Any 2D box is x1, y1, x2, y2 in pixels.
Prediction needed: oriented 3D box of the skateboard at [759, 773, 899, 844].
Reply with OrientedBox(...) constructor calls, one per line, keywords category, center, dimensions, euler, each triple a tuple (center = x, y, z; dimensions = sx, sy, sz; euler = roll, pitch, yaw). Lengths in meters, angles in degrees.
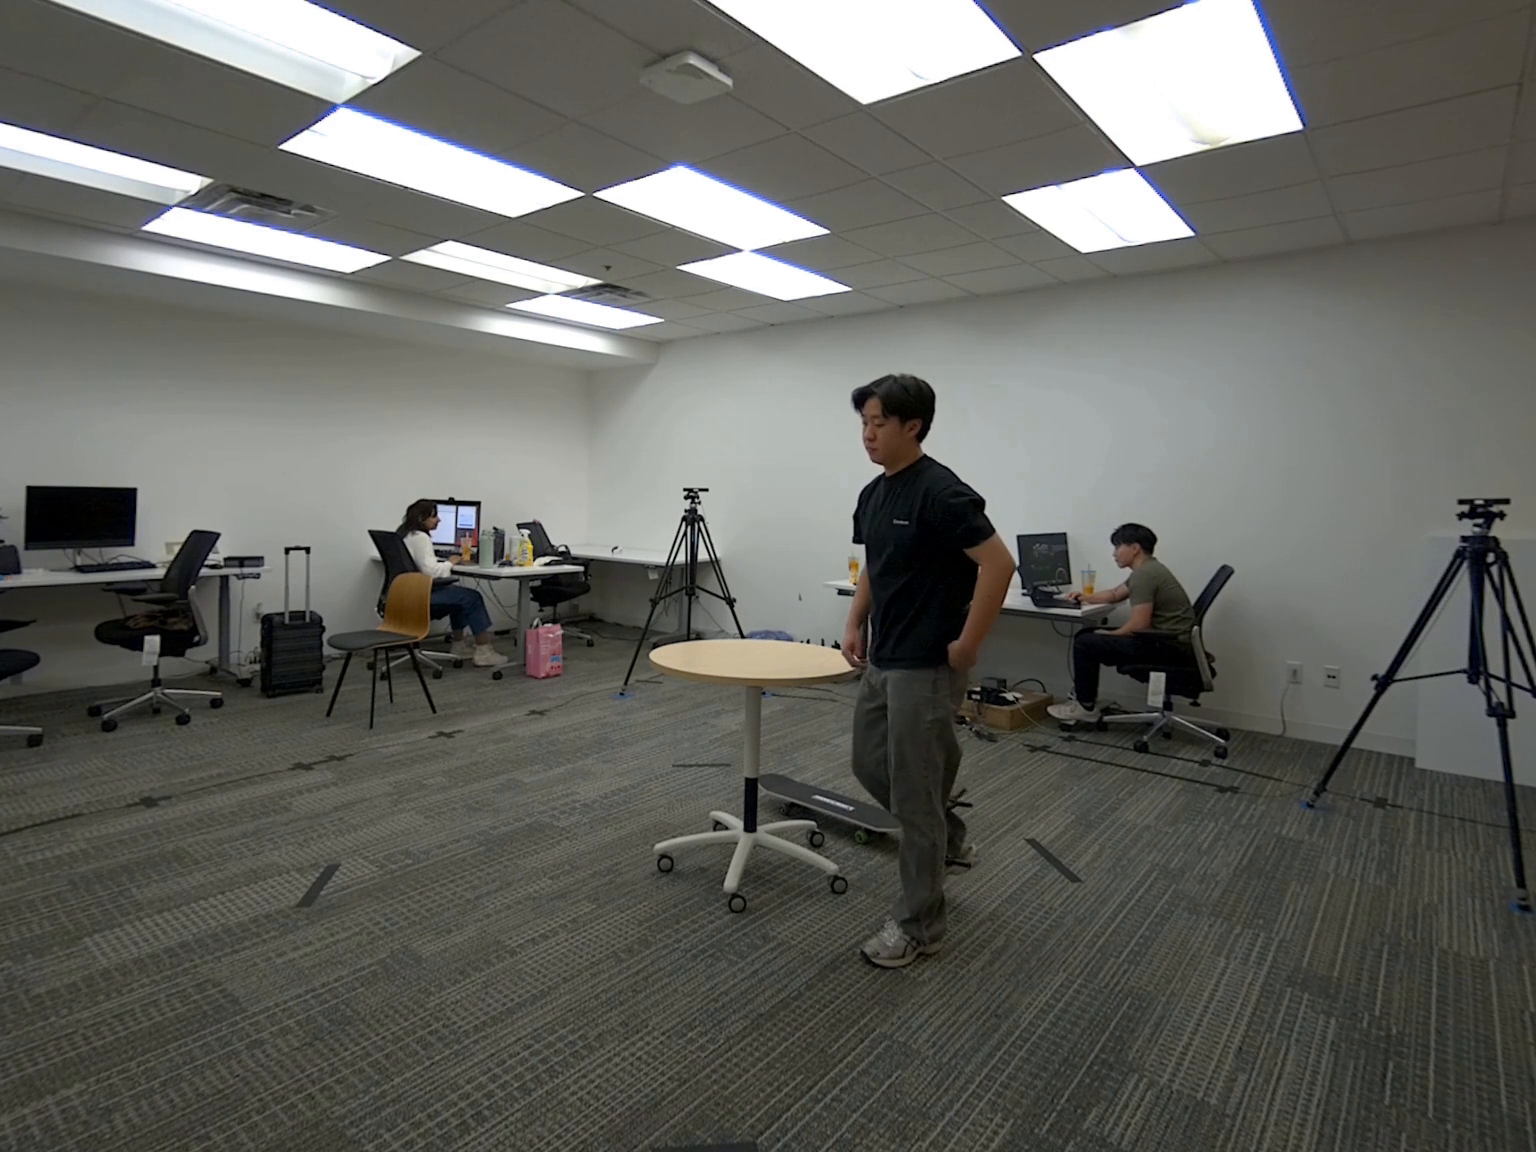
OrientedBox(category="skateboard", center=(0.264, 0.980, 3.568), dimensions=(0.813, 0.110, 0.188), euler=(7, 8, 43))
